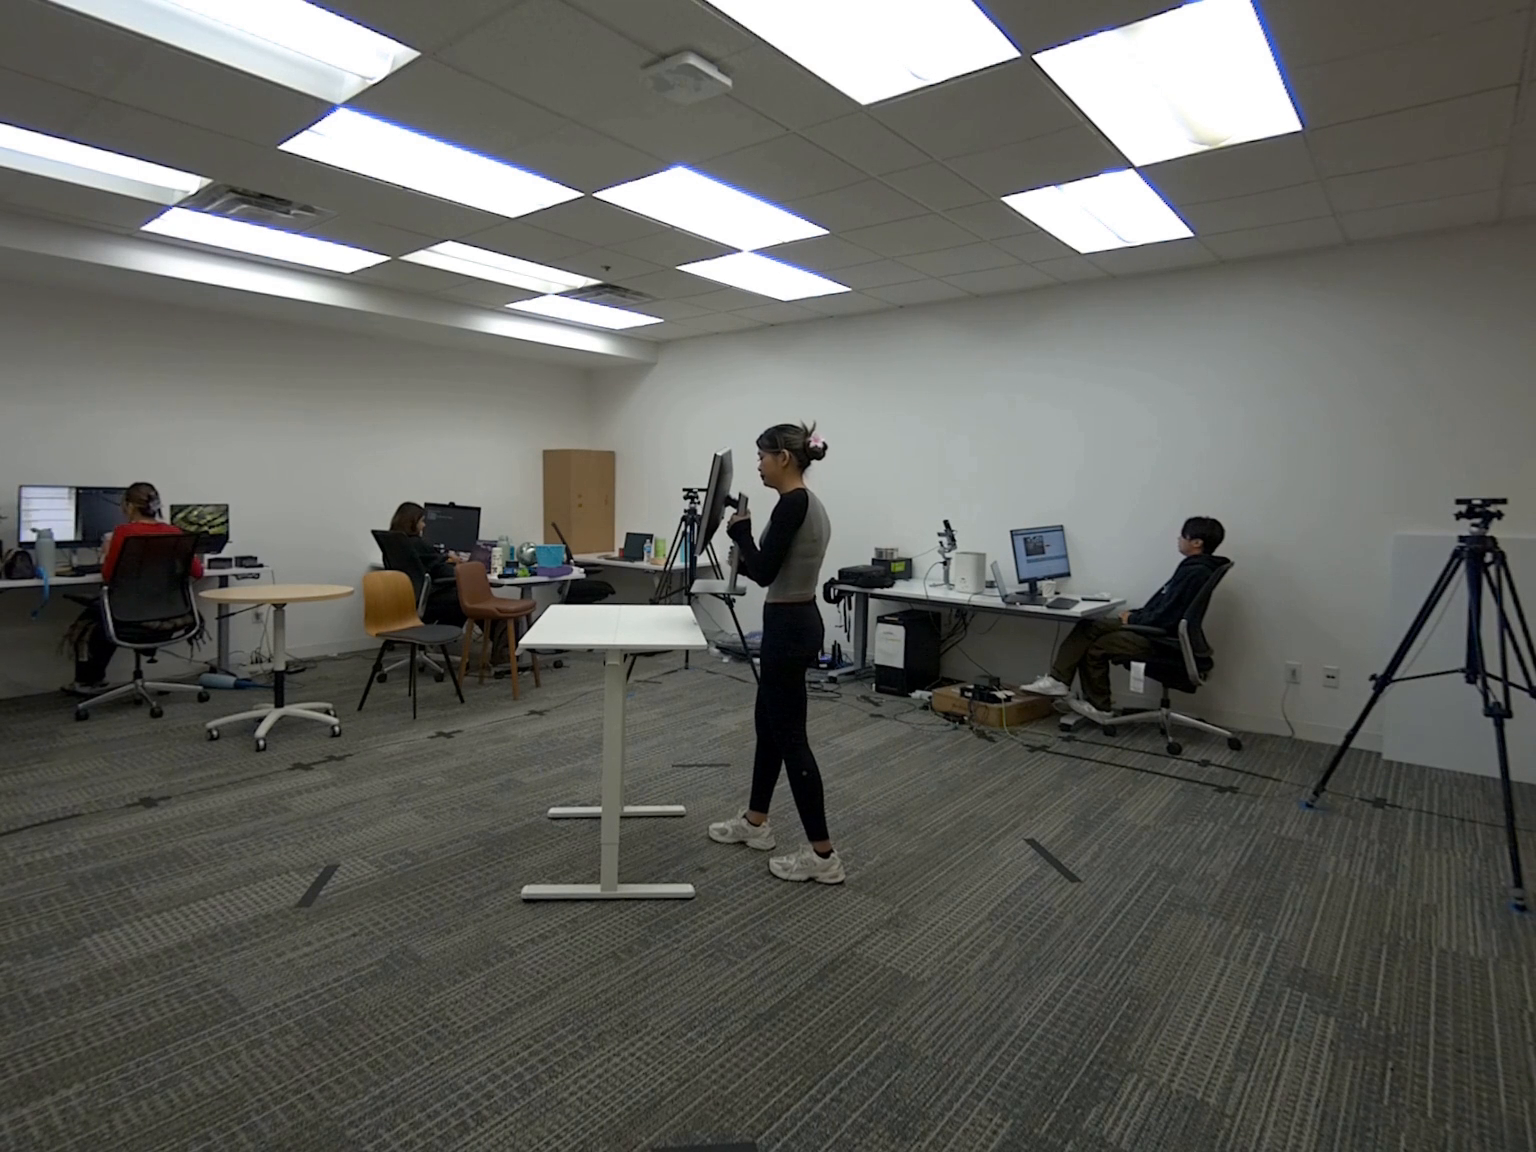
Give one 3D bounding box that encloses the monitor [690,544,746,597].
[{"bbox_3d":[-0.178,-0.212,3.199,0.187,0.518,0.542,1,9,1],"label":"monitor"}]
